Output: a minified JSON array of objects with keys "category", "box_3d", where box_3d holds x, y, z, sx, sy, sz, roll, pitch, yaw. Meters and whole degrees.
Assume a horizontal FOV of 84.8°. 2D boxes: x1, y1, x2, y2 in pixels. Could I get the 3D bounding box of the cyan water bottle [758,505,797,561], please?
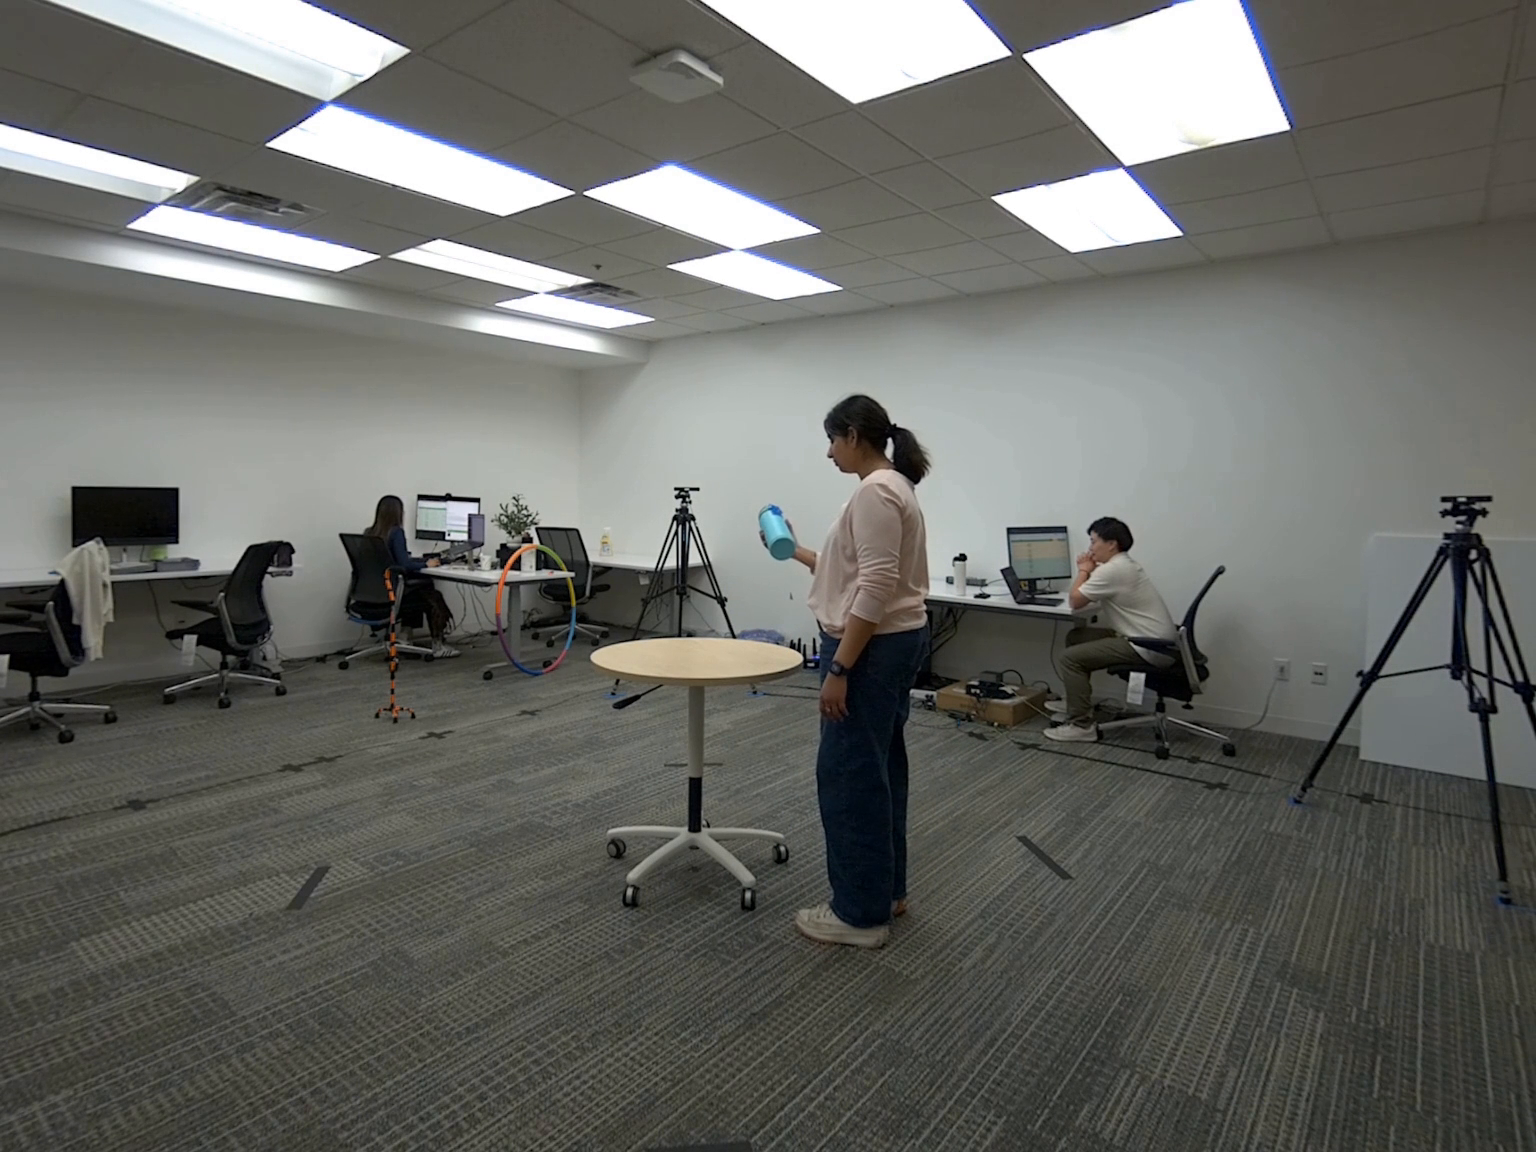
[{"category":"cyan water bottle","box_3d":[0.021,-0.160,2.943,0.091,0.090,0.293,-1,29,-14]}]
